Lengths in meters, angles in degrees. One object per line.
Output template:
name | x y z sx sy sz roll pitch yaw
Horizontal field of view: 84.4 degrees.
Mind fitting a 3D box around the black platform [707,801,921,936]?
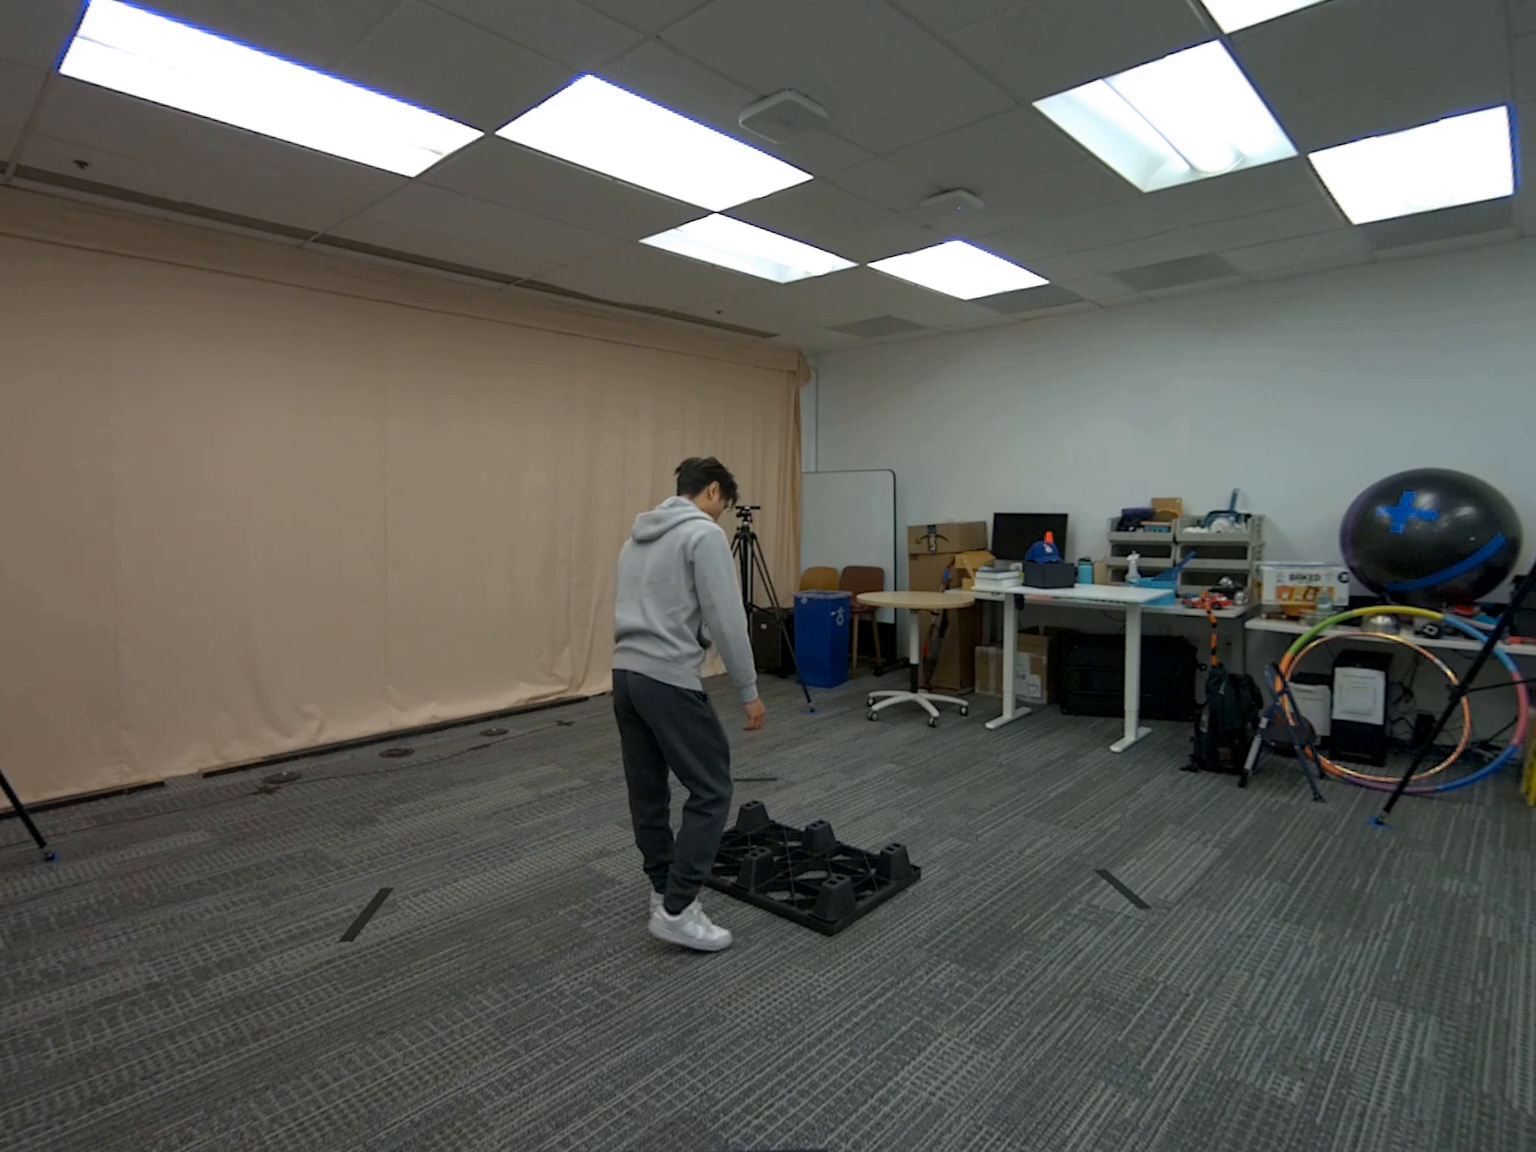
black platform | 0.091 1.061 3.194 0.832 0.143 0.587 4 7 40
